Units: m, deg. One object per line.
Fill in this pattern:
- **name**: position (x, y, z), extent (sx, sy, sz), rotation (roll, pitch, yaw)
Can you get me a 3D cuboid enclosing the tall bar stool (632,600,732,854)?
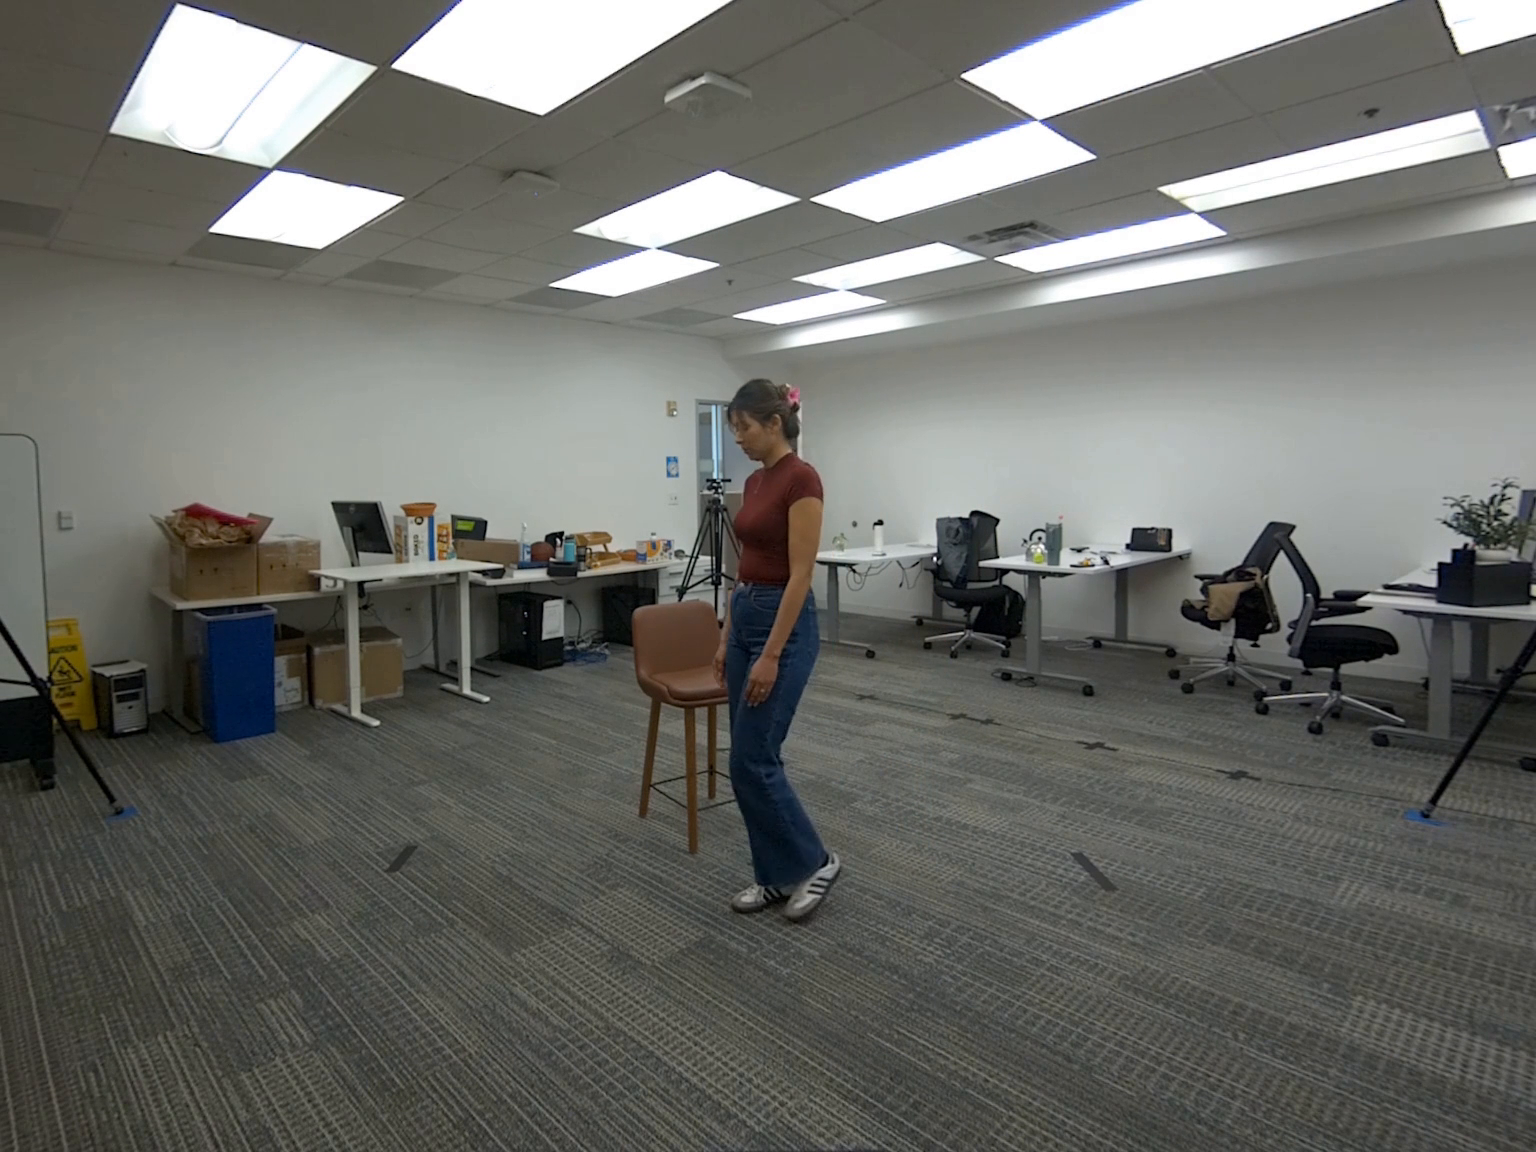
- **tall bar stool**: position (-0.268, 0.572, 3.464), extent (0.445, 0.888, 0.481), rotation (-4, 3, -36)
